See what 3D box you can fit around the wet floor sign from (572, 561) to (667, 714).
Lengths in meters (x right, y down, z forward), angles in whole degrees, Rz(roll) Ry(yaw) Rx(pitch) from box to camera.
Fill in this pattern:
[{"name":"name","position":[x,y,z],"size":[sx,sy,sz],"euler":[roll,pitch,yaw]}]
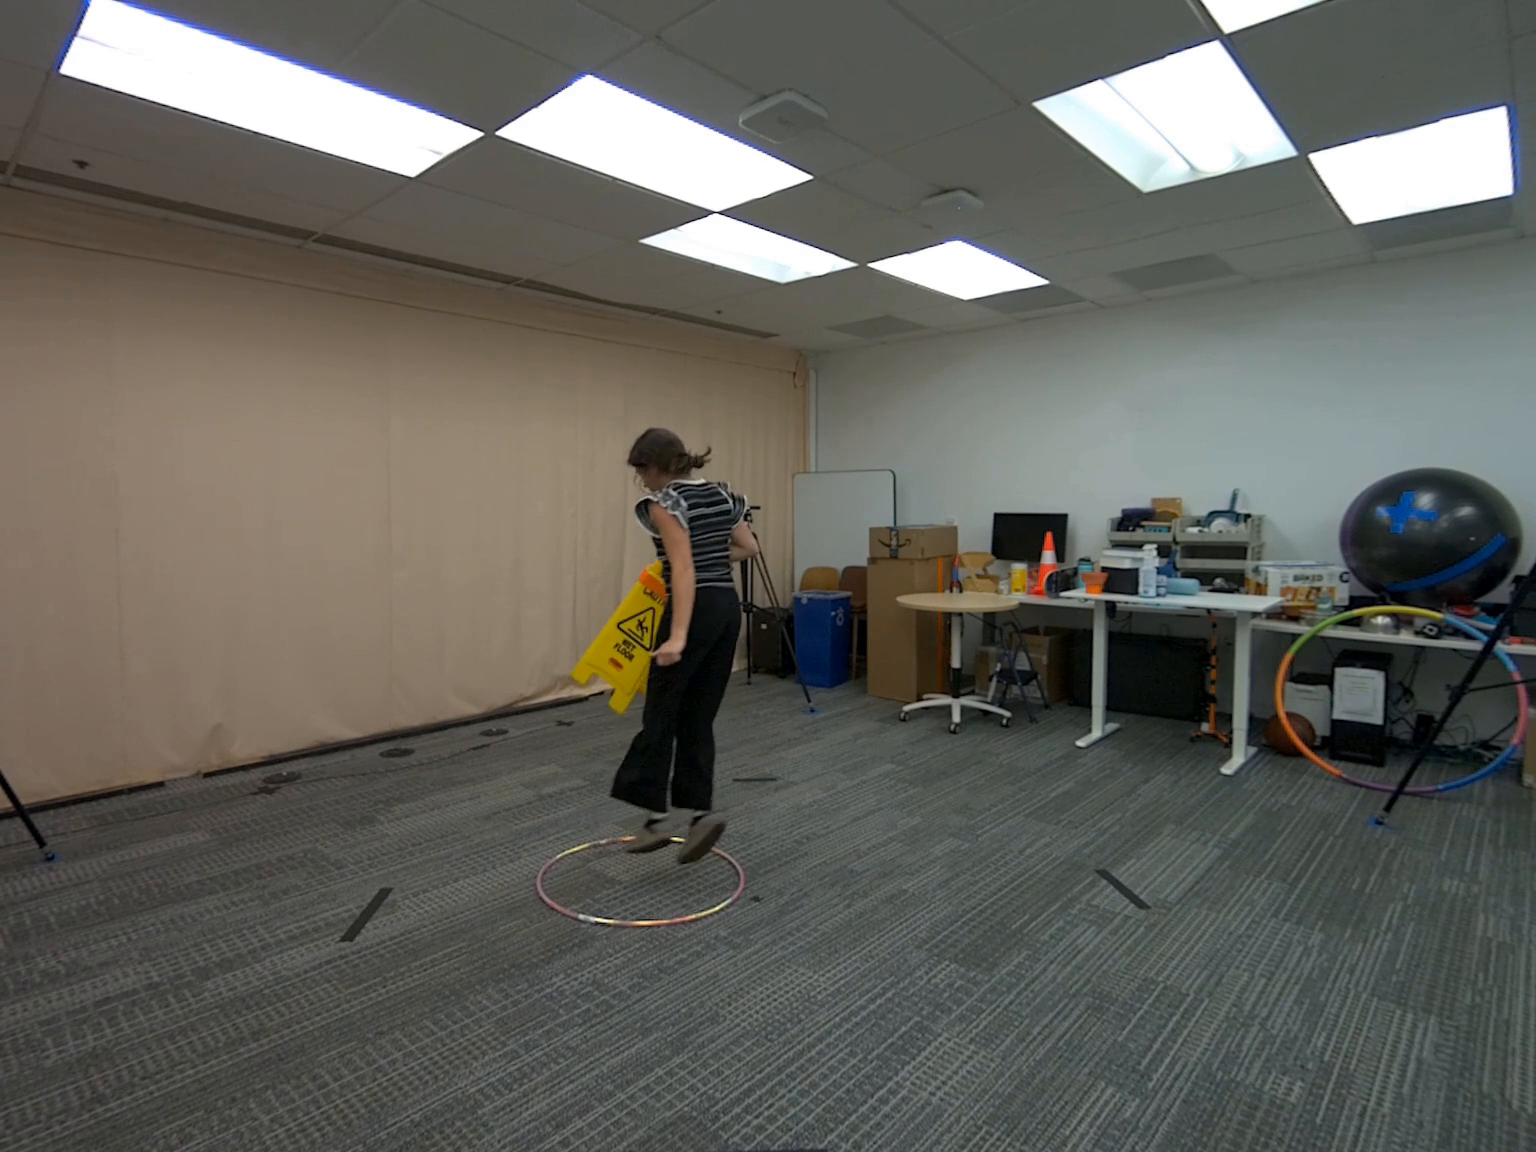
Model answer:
[{"name":"wet floor sign","position":[-0.483,0.259,3.465],"size":[0.286,0.646,0.285],"euler":[34,17,11]}]
